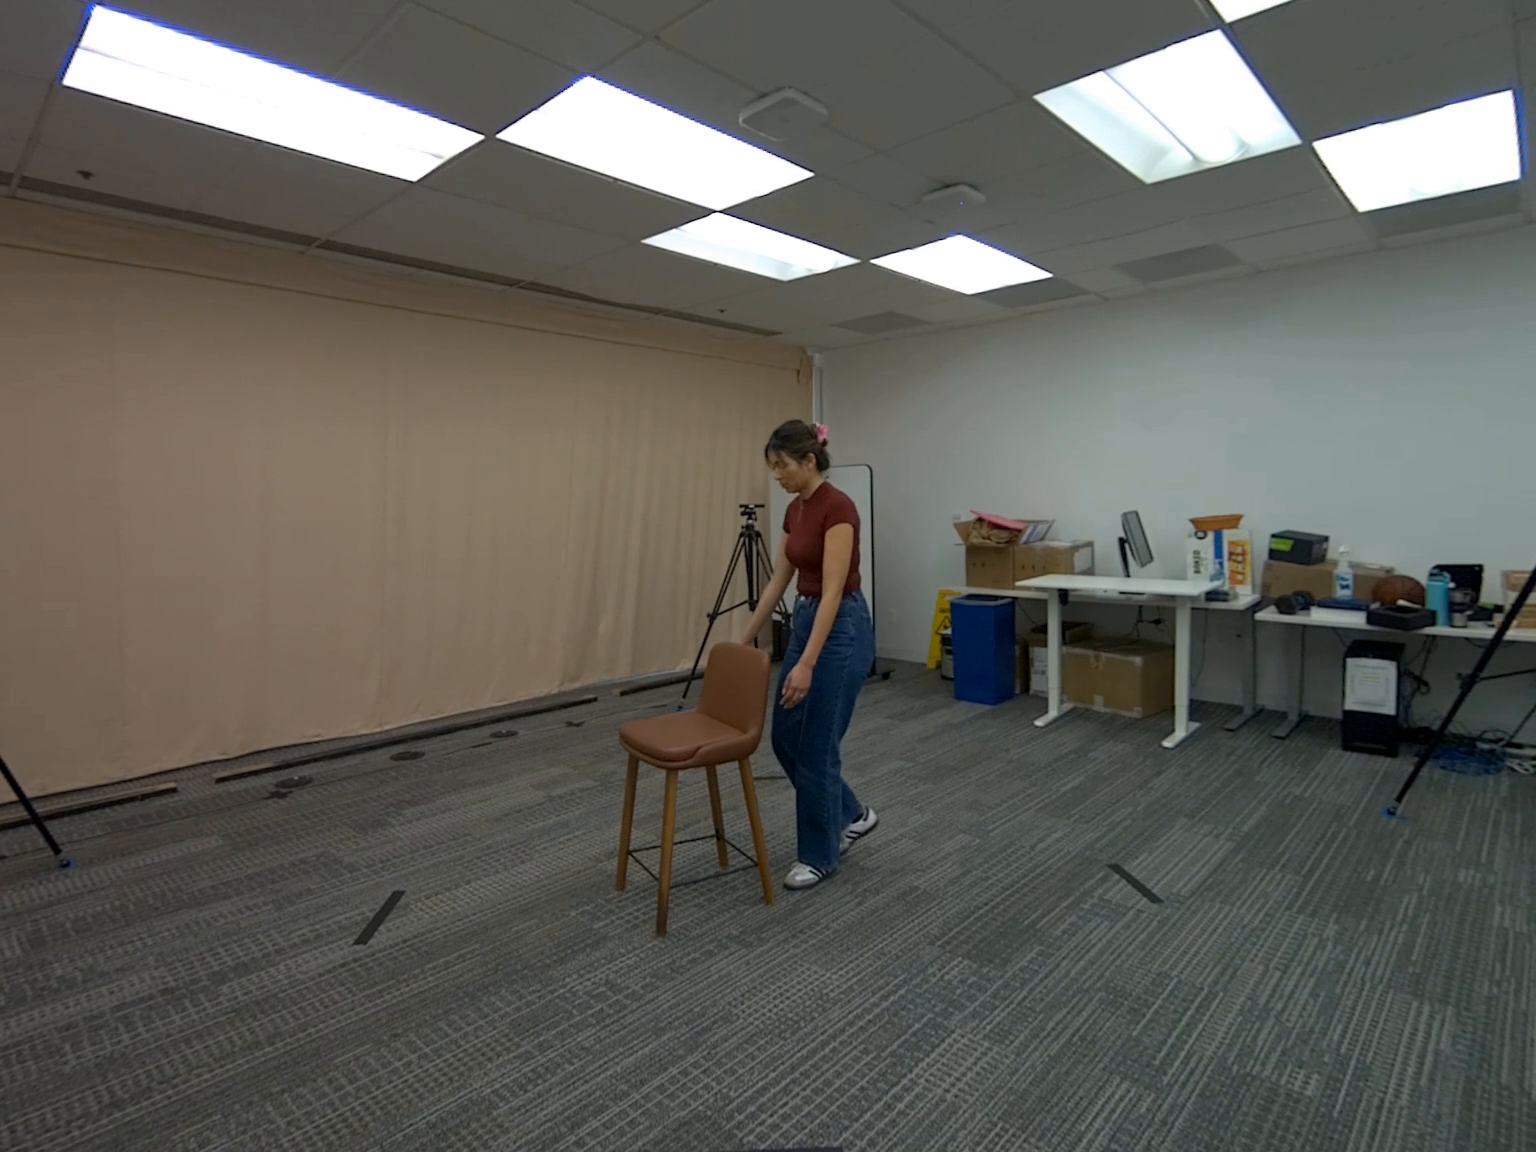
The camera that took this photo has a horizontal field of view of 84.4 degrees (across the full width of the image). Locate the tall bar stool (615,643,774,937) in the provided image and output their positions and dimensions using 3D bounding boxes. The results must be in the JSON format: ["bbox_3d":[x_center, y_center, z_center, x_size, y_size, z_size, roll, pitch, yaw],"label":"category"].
[{"bbox_3d":[-0.262,0.708,2.978,0.455,0.888,0.469,-1,3,-29],"label":"tall bar stool"}]
